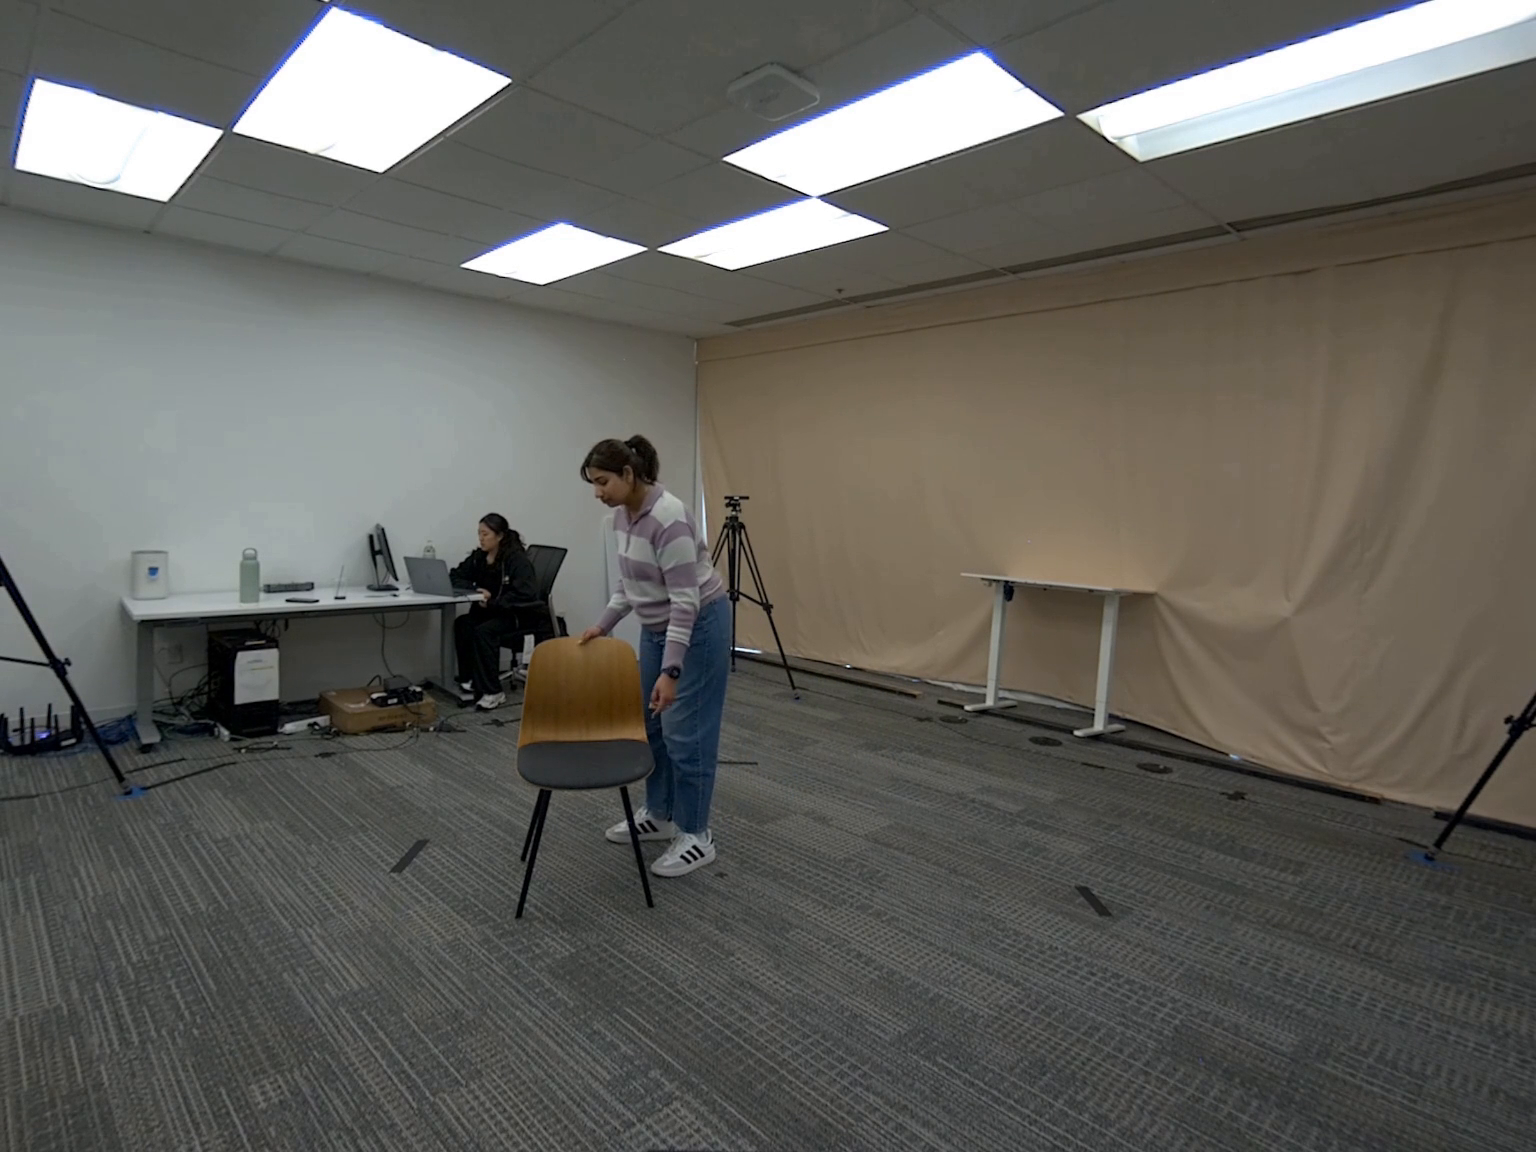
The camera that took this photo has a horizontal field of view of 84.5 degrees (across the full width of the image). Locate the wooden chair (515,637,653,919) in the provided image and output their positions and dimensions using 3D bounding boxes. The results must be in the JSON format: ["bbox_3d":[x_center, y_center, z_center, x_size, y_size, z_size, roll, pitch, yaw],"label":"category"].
[{"bbox_3d":[-0.651,0.683,2.968,0.473,0.878,0.529,1,0,-14],"label":"wooden chair"}]
